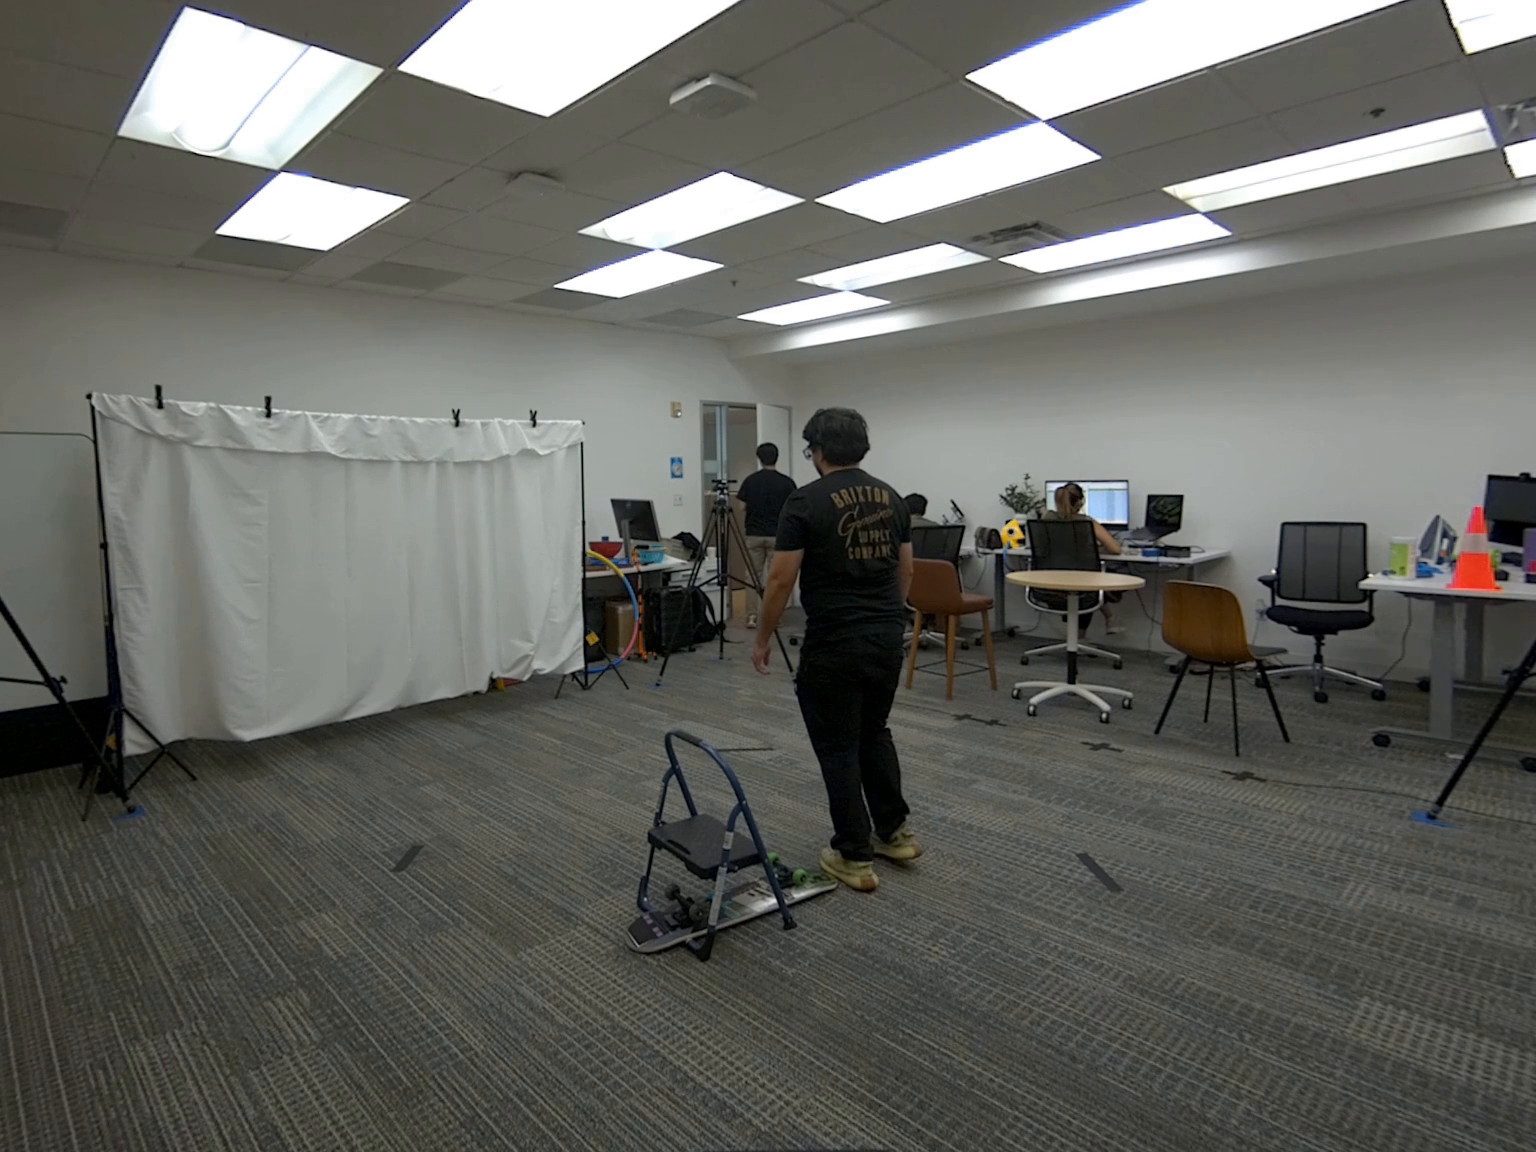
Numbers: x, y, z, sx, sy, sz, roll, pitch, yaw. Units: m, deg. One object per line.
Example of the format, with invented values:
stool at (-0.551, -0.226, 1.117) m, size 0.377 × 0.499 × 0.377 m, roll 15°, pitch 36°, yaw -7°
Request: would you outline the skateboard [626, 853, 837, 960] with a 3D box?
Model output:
skateboard at (-0.087, 1.041, 2.762) m, size 0.765 × 0.110 × 0.199 m, roll -5°, pitch 4°, yaw -35°
